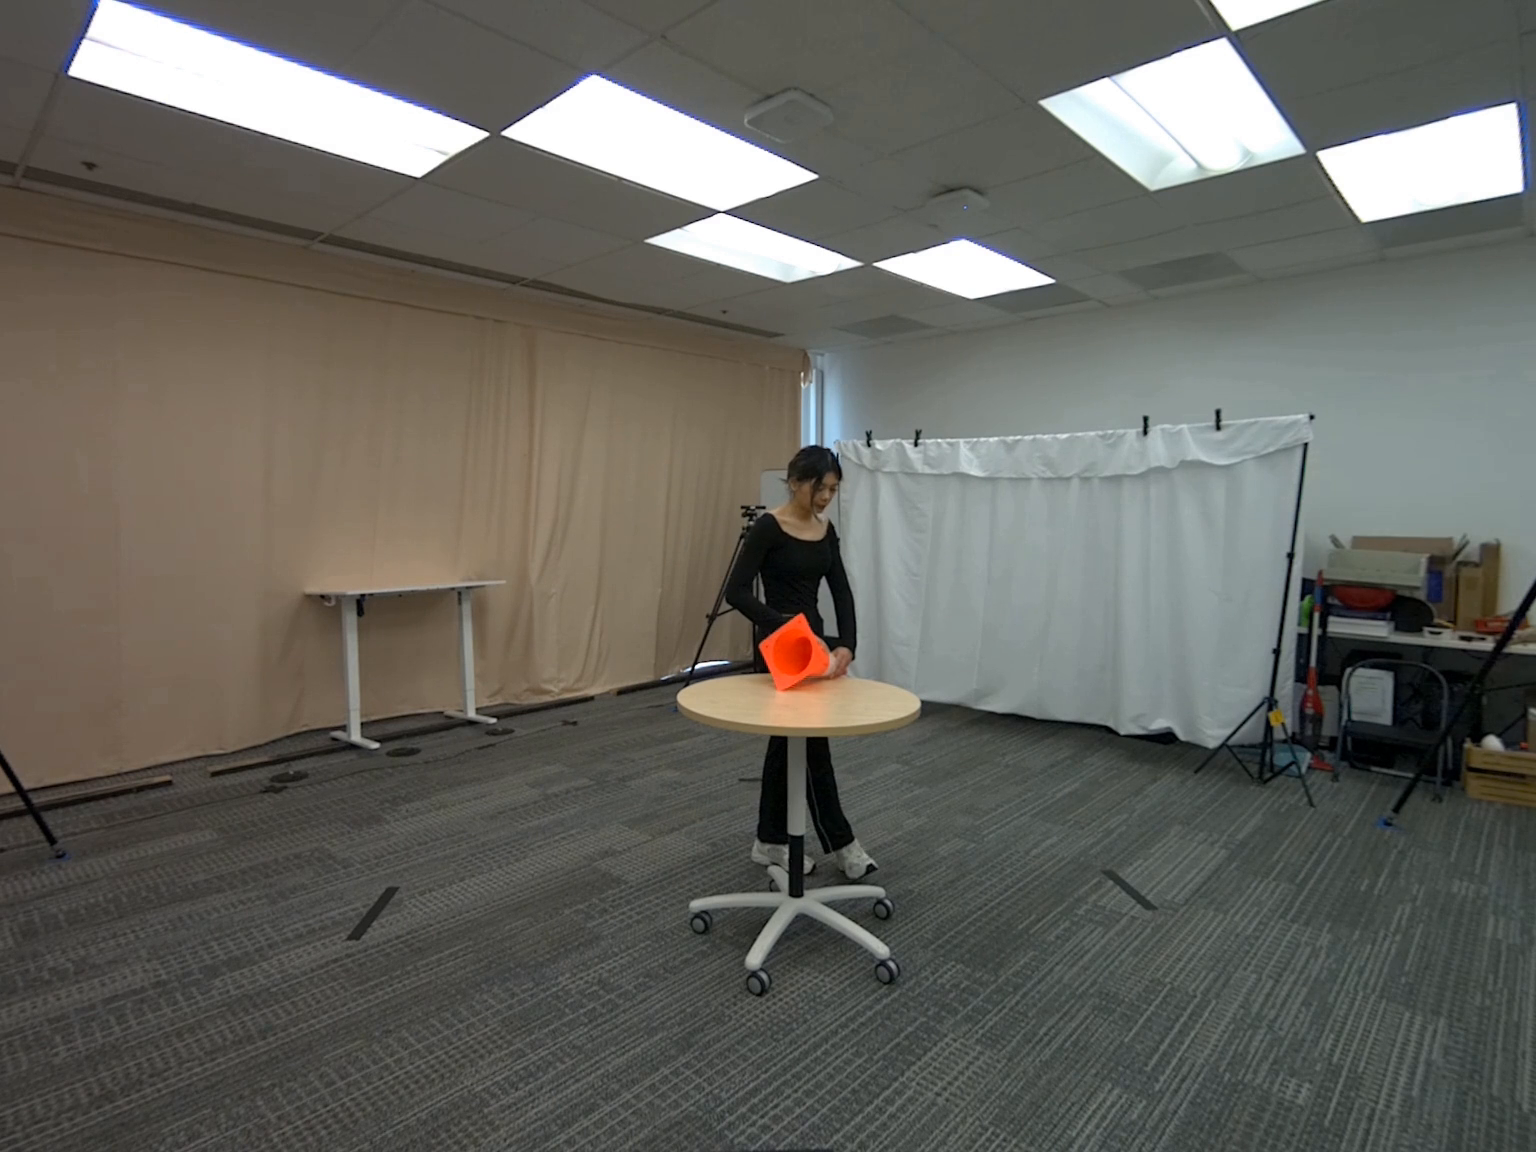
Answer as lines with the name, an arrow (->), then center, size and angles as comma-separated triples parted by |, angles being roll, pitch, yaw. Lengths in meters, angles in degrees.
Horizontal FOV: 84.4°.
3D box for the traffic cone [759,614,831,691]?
traffic cone -> 0.170, 0.299, 2.942 | 0.205, 0.210, 0.370 | -37, -31, 18
